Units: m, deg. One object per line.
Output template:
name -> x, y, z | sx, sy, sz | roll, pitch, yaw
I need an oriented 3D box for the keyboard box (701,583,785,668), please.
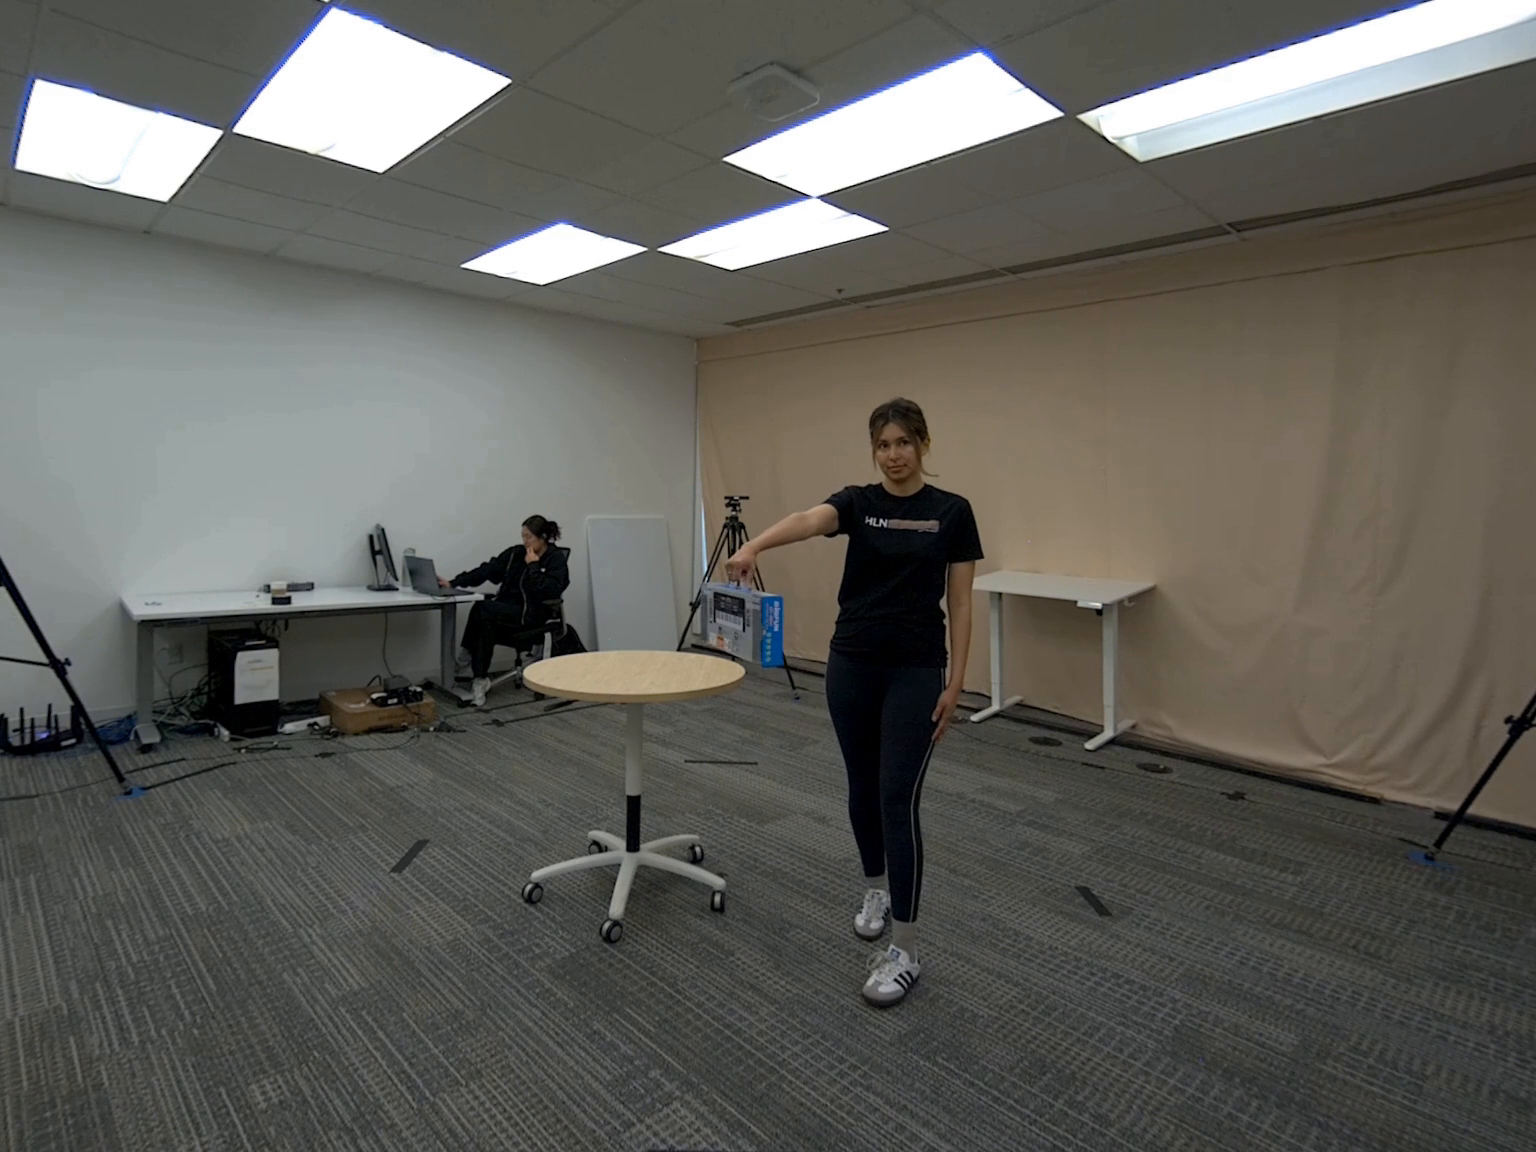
keyboard box -> -0.081, 0.122, 2.225 | 0.058, 0.175, 0.445 | -2, 4, -23
